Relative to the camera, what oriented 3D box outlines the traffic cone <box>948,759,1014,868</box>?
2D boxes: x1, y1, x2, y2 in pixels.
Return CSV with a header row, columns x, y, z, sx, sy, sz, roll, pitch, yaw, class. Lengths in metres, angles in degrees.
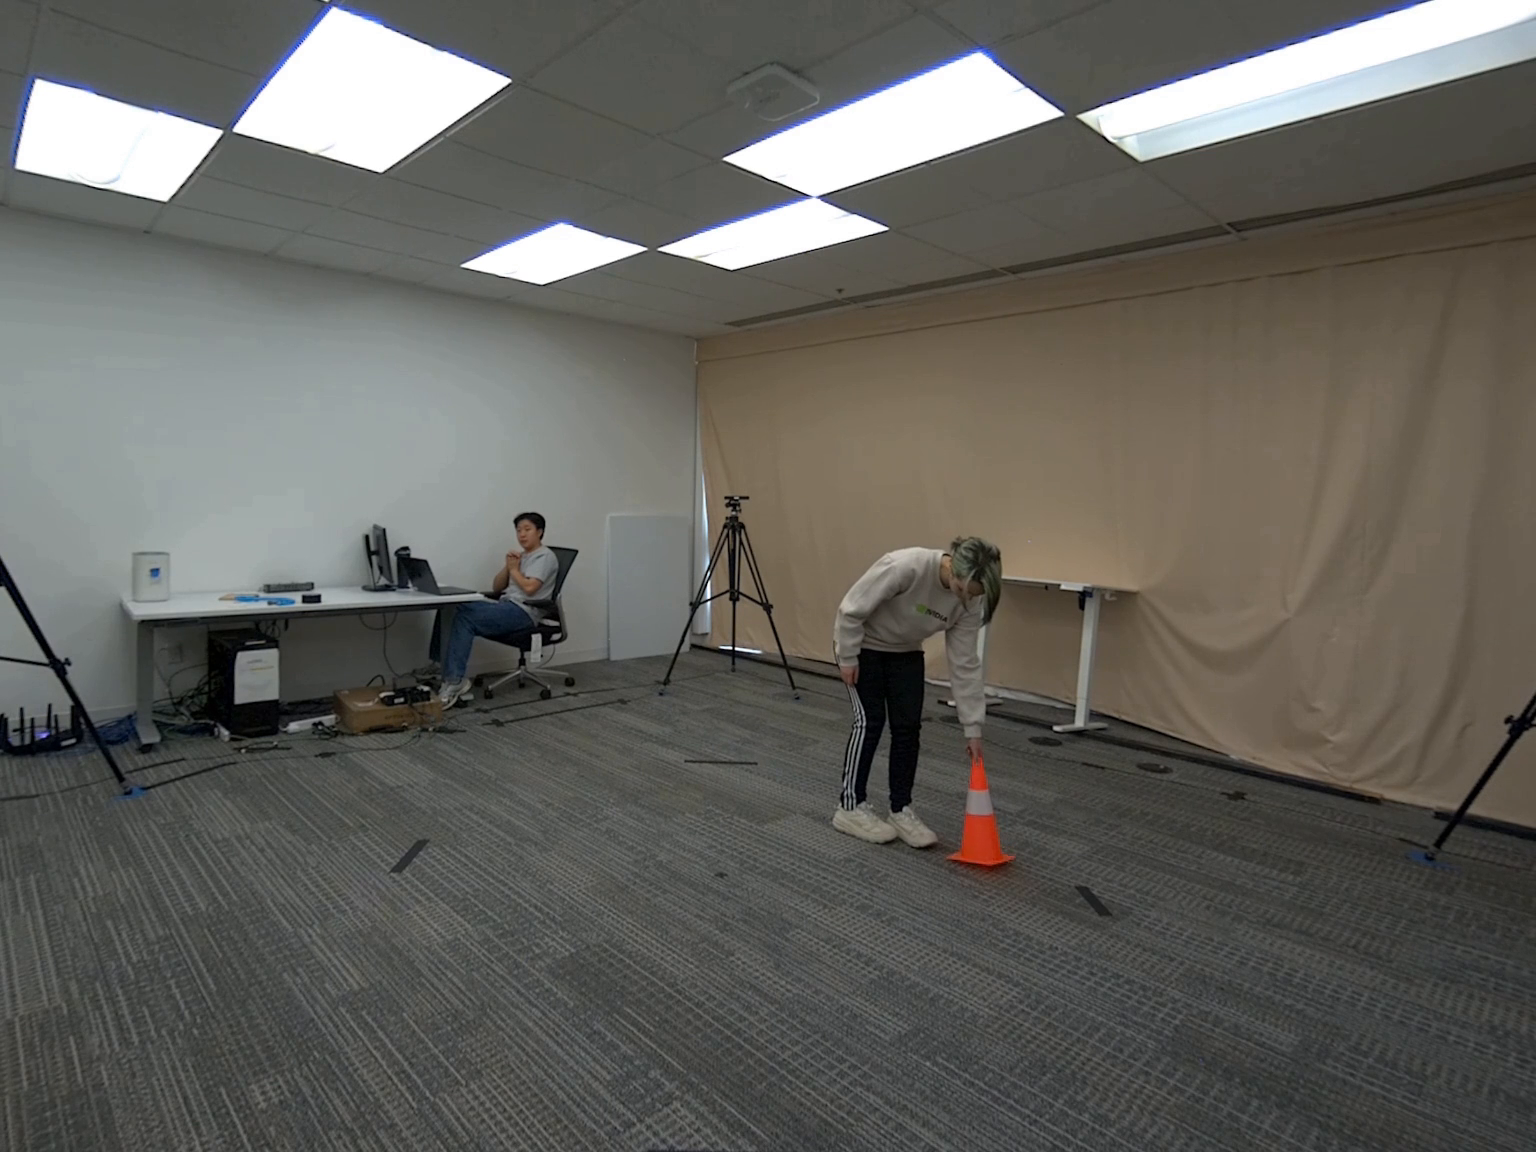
x,y,z,sx,sy,sz,roll,pitch,yaw,class
0.814,0.906,3.291,0.200,0.386,0.207,6,-9,-34,traffic cone
